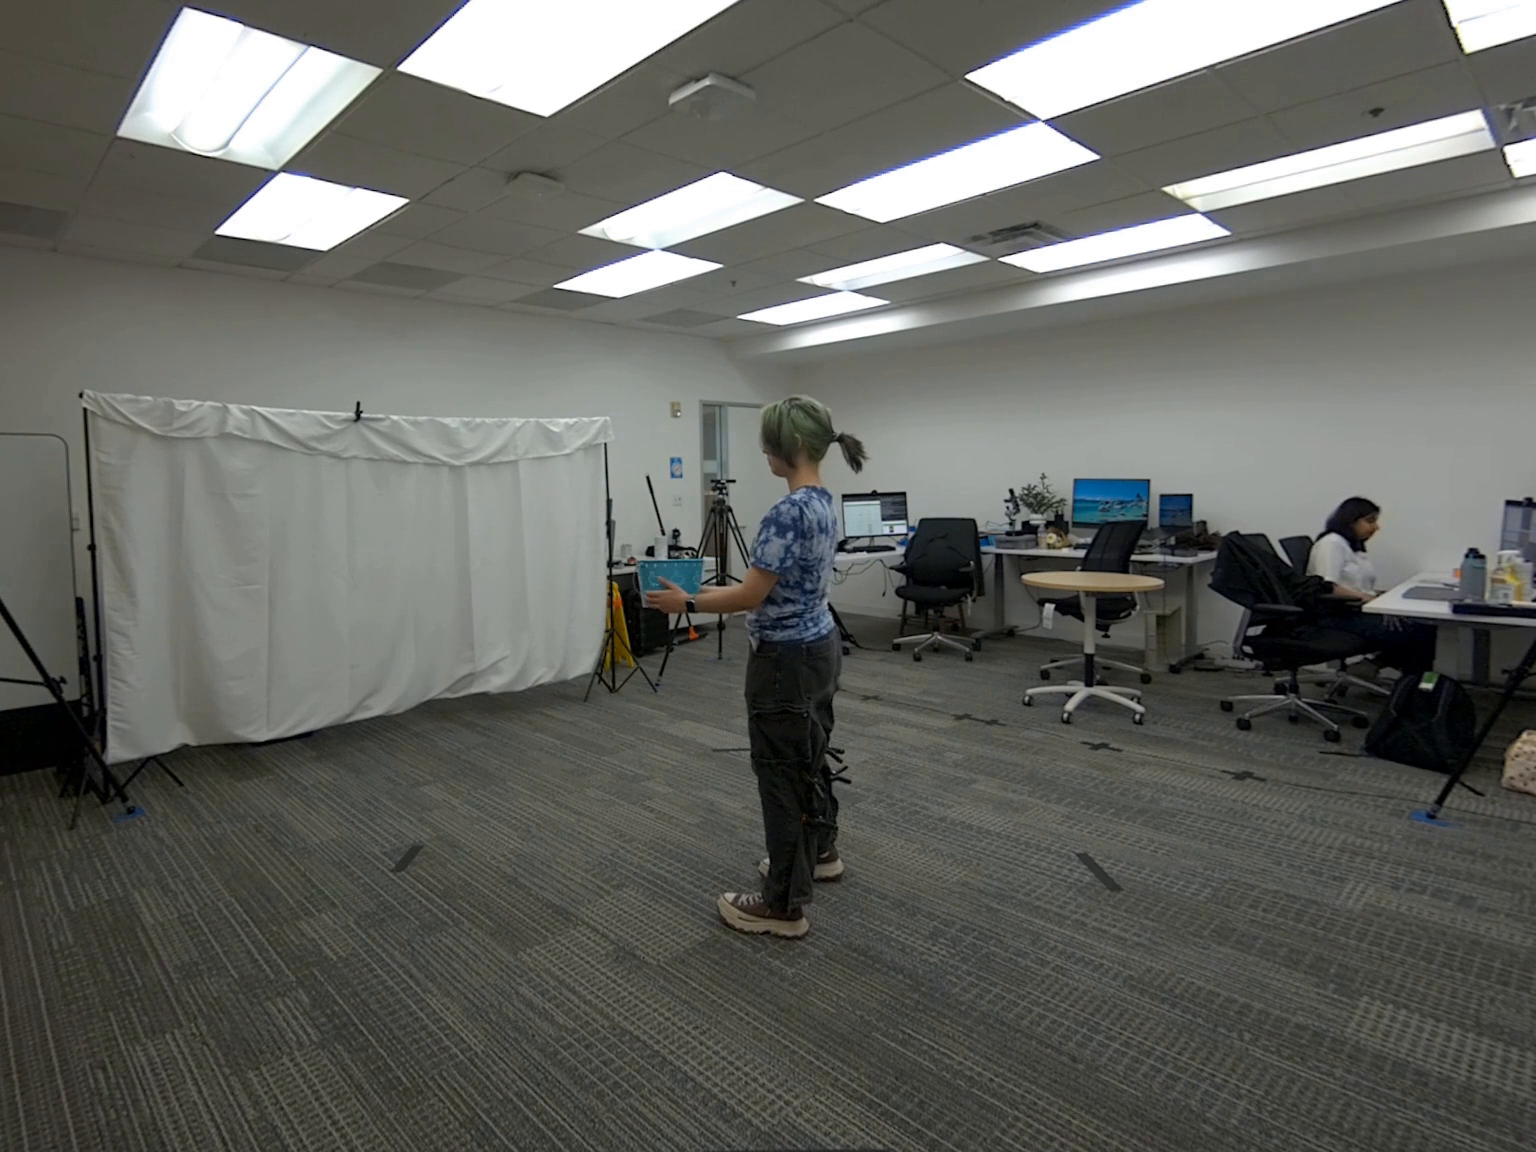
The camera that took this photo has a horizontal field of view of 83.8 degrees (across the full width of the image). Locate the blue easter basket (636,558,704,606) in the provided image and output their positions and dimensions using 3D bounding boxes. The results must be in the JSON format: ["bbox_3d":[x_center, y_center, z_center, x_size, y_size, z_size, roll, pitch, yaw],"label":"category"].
[{"bbox_3d":[-0.307,0.024,2.806,0.243,0.156,0.244,-1,1,-2],"label":"blue easter basket"}]
